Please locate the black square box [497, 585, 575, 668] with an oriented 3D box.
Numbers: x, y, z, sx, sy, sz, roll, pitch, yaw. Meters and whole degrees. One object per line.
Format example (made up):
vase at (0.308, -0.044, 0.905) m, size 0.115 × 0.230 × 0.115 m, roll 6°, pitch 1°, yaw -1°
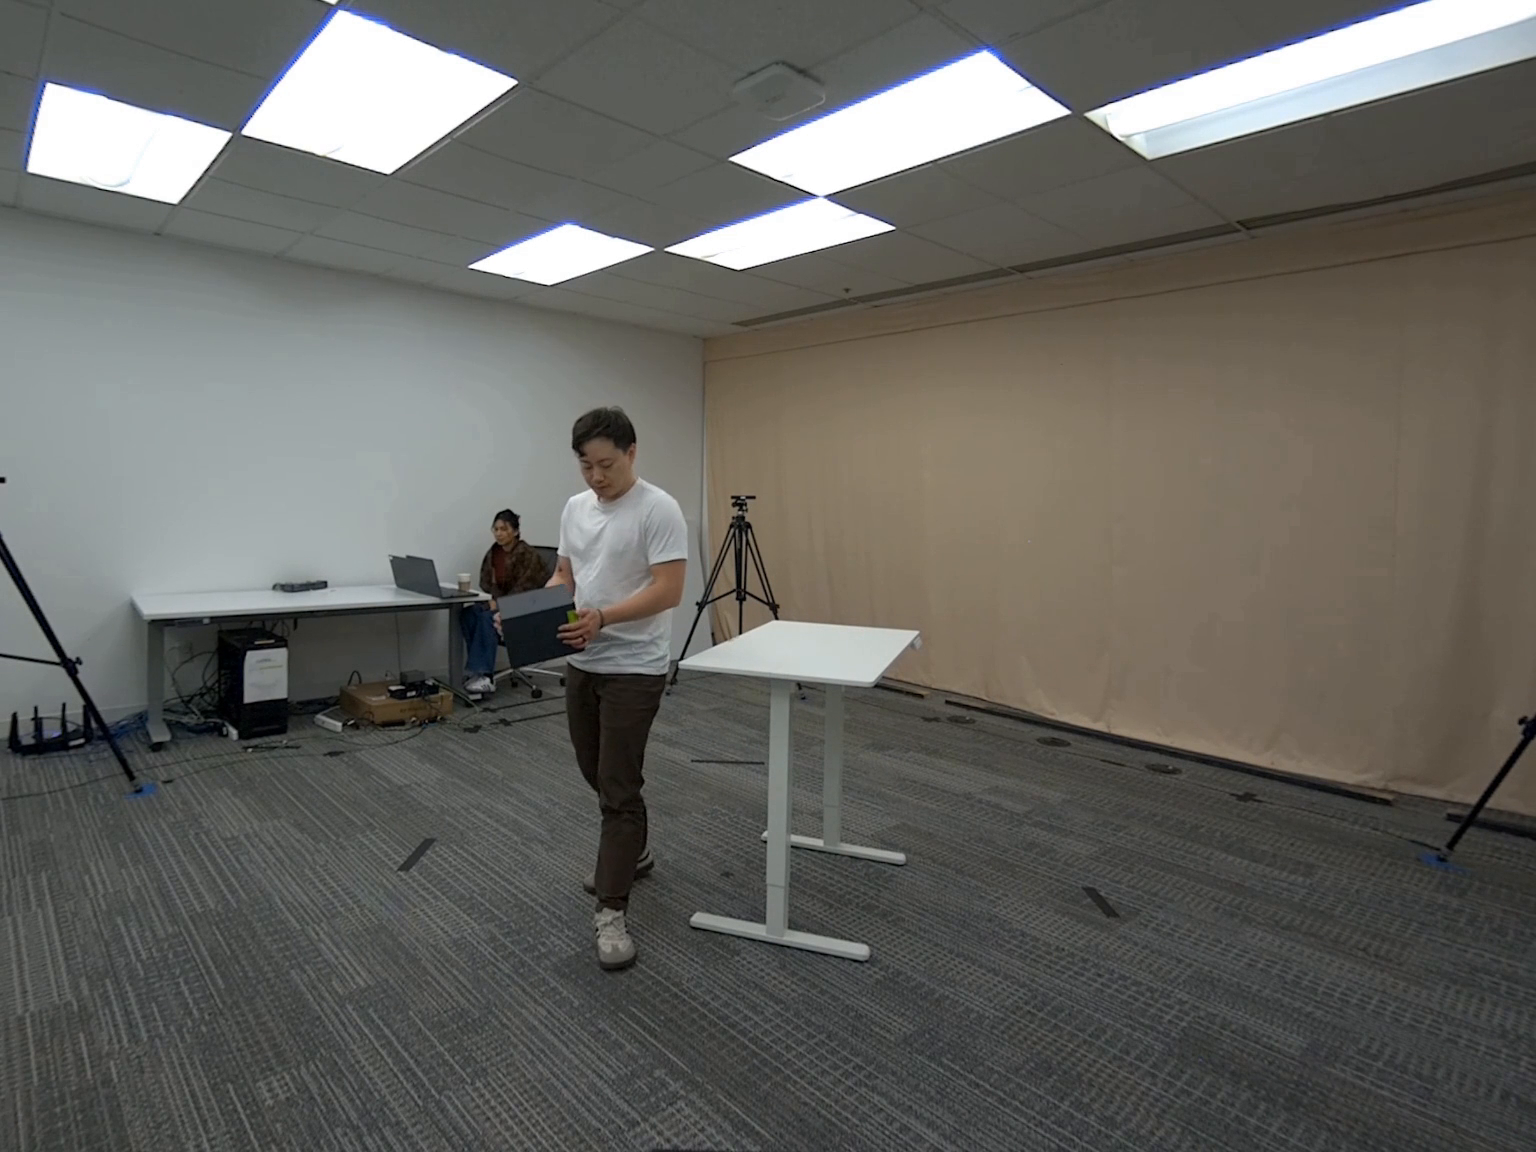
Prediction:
black square box at (-0.676, 0.142, 2.517) m, size 0.215 × 0.154 × 0.233 m, roll -13°, pitch 16°, yaw -17°
